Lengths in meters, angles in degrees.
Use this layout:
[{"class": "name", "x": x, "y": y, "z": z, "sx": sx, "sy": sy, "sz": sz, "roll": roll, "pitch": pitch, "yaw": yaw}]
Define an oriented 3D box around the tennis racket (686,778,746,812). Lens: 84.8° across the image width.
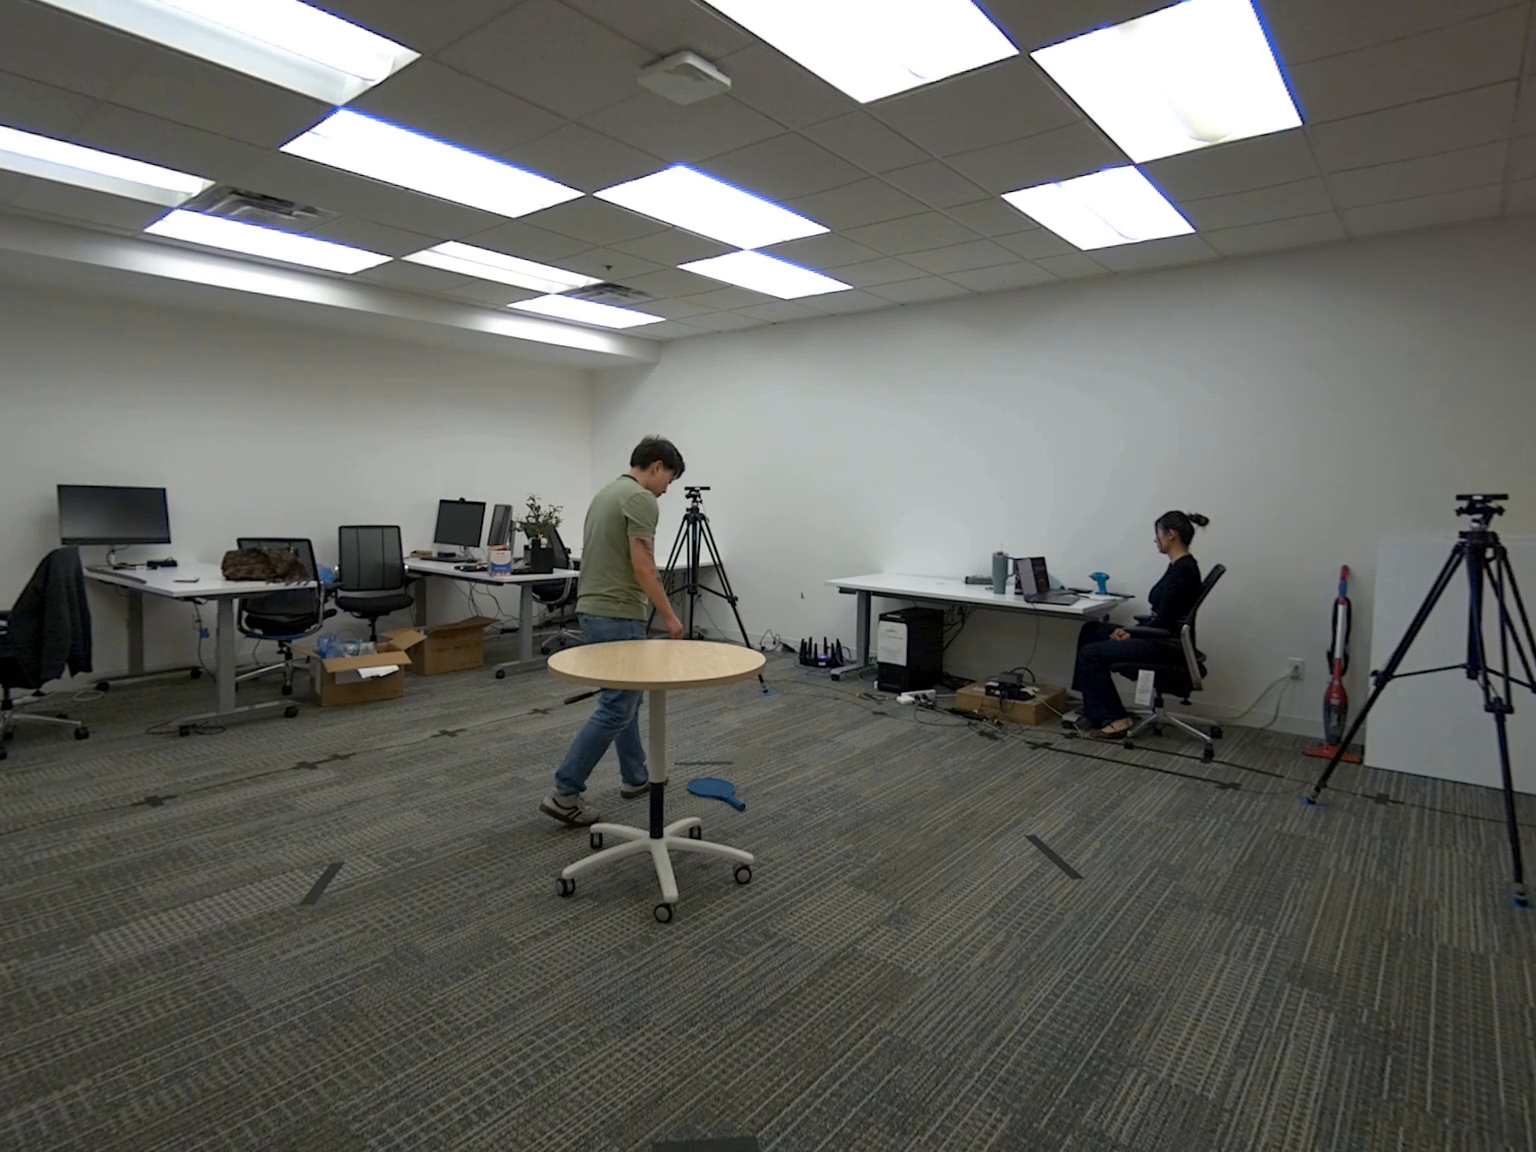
[{"class": "tennis racket", "x": -0.232, "y": 0.975, "z": 3.854, "sx": 0.208, "sy": 0.032, "sz": 0.446, "roll": -2, "pitch": 5, "yaw": -31}]
